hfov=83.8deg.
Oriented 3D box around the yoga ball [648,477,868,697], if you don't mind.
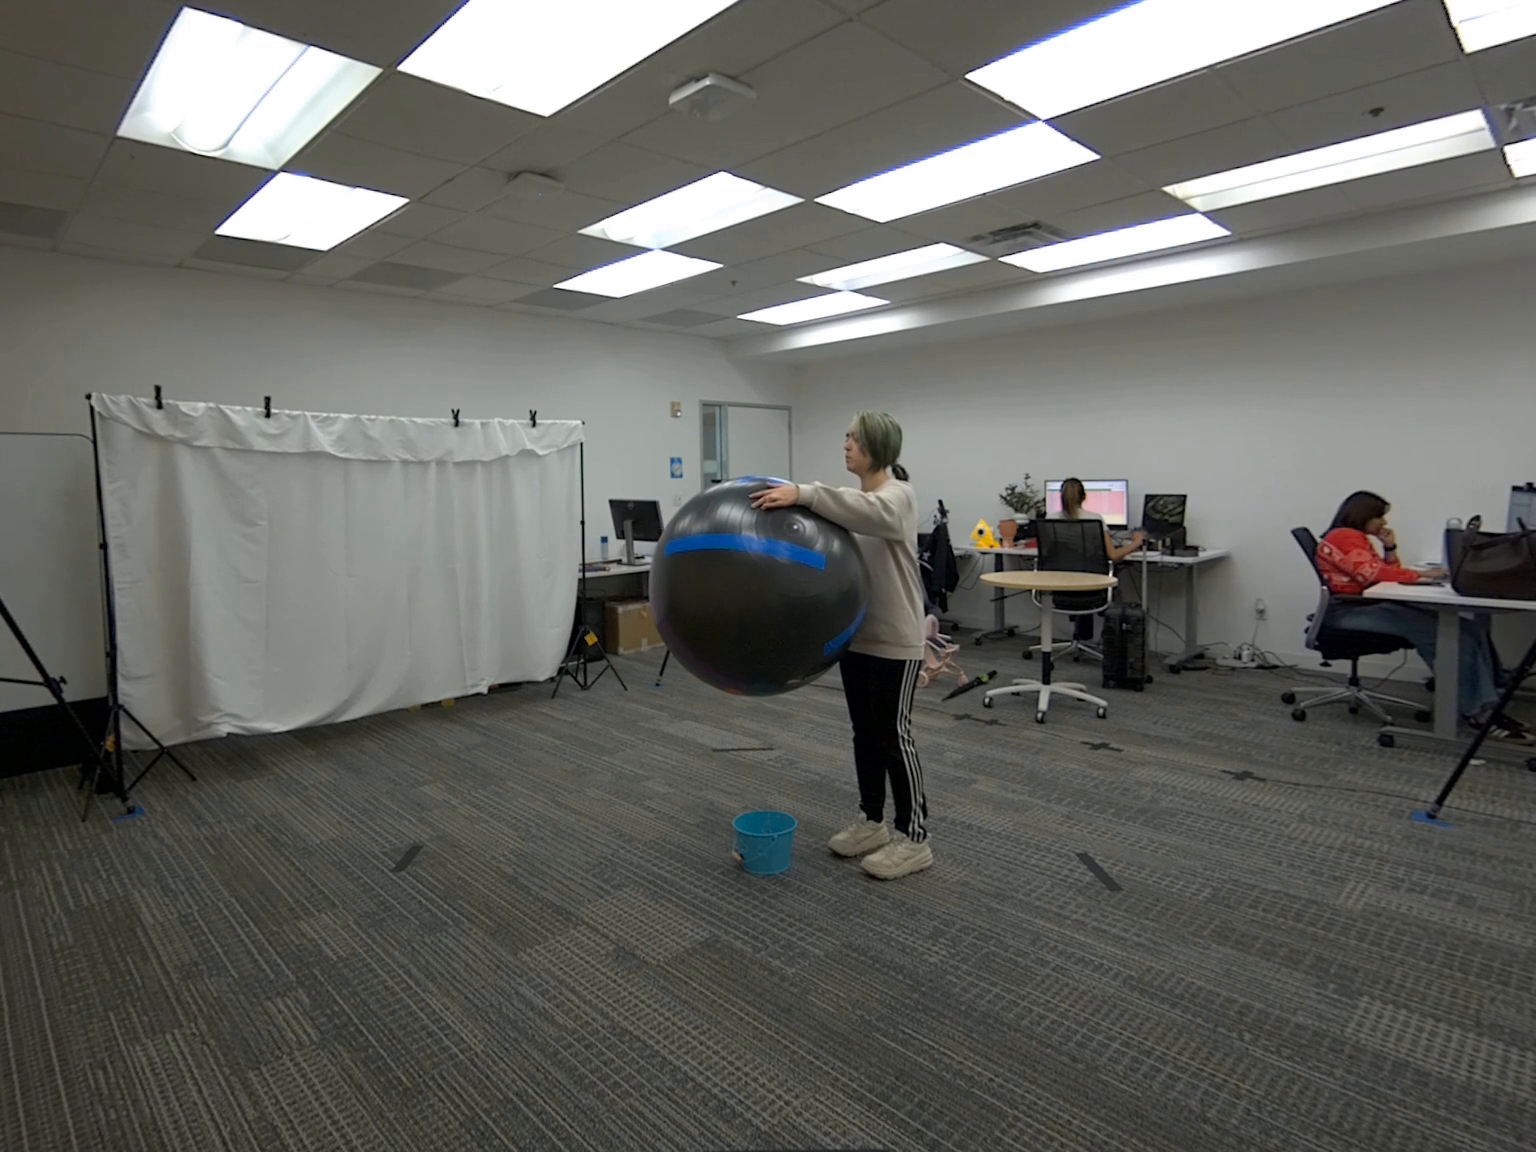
[{"bbox_3d":[-0.043,0.041,2.972,0.757,0.755,0.762,-1,5,-2],"label":"yoga ball"}]
